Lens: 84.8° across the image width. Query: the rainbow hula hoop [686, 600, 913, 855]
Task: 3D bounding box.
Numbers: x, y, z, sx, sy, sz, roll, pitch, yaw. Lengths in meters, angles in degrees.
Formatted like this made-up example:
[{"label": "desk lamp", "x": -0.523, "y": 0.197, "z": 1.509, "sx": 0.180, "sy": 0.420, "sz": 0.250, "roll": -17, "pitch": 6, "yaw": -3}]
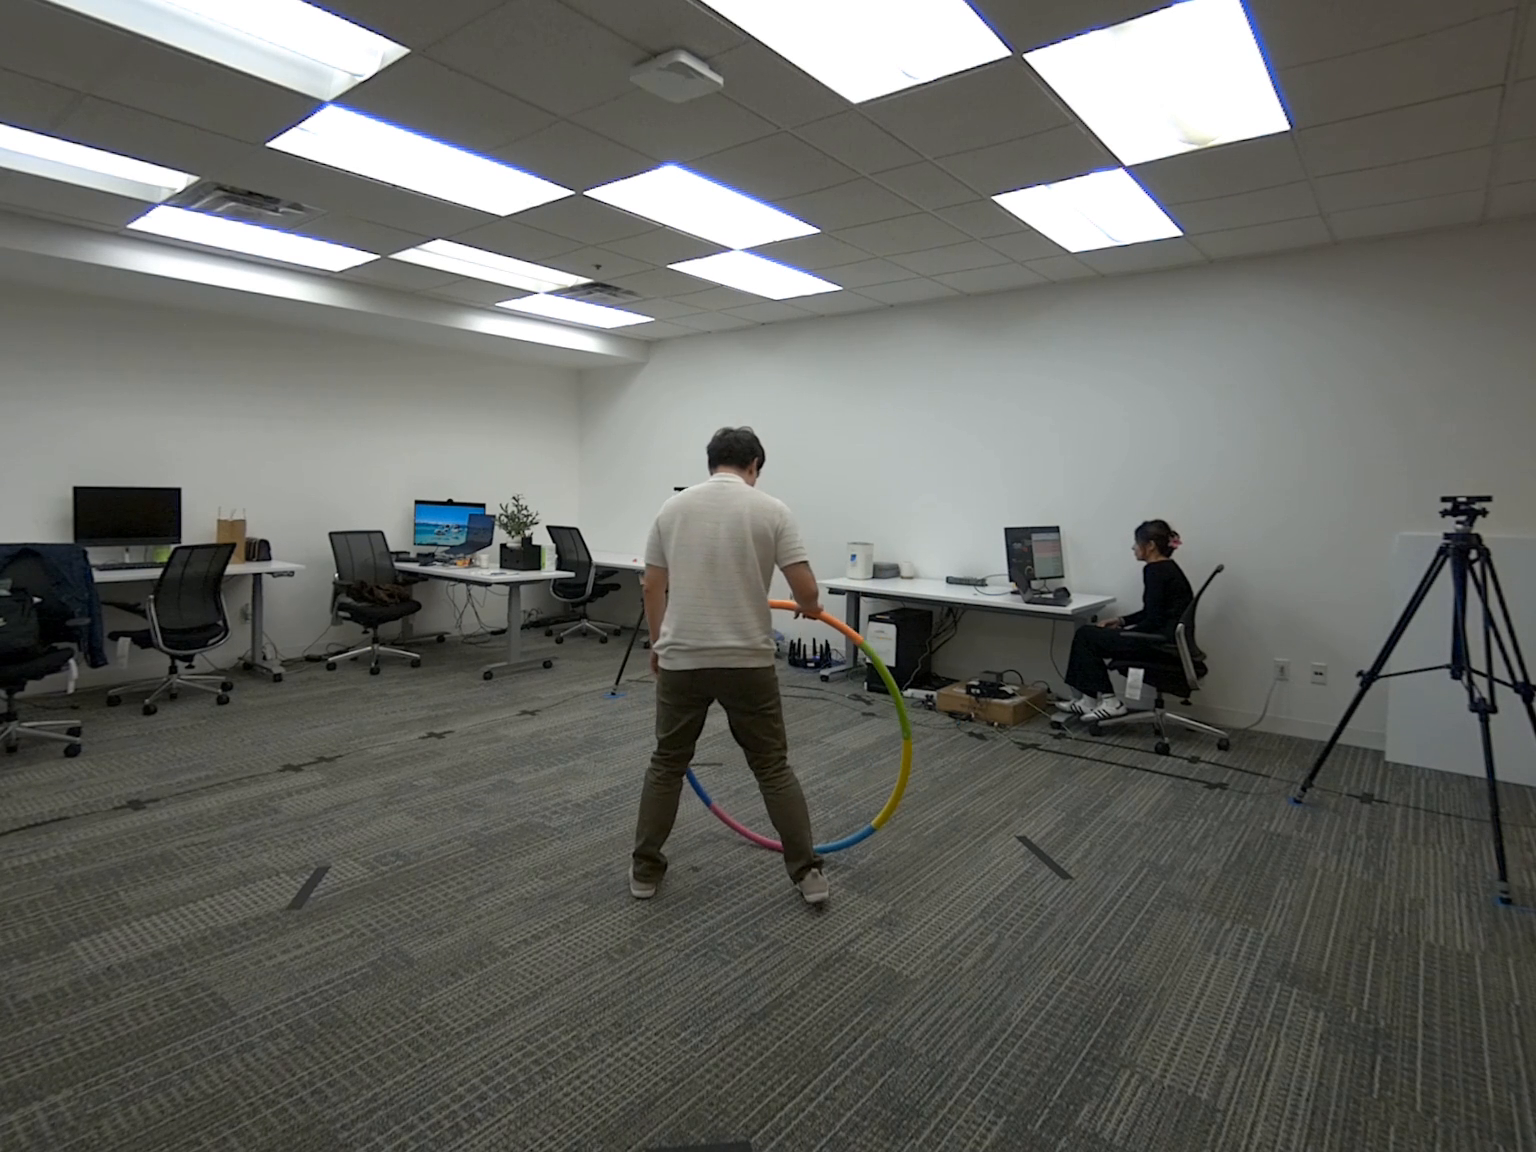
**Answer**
[{"label": "rainbow hula hoop", "x": 0.040, "y": 0.572, "z": 3.209, "sx": 1.006, "sy": 0.971, "sz": 0.035, "roll": 3, "pitch": 8, "yaw": 28}]
